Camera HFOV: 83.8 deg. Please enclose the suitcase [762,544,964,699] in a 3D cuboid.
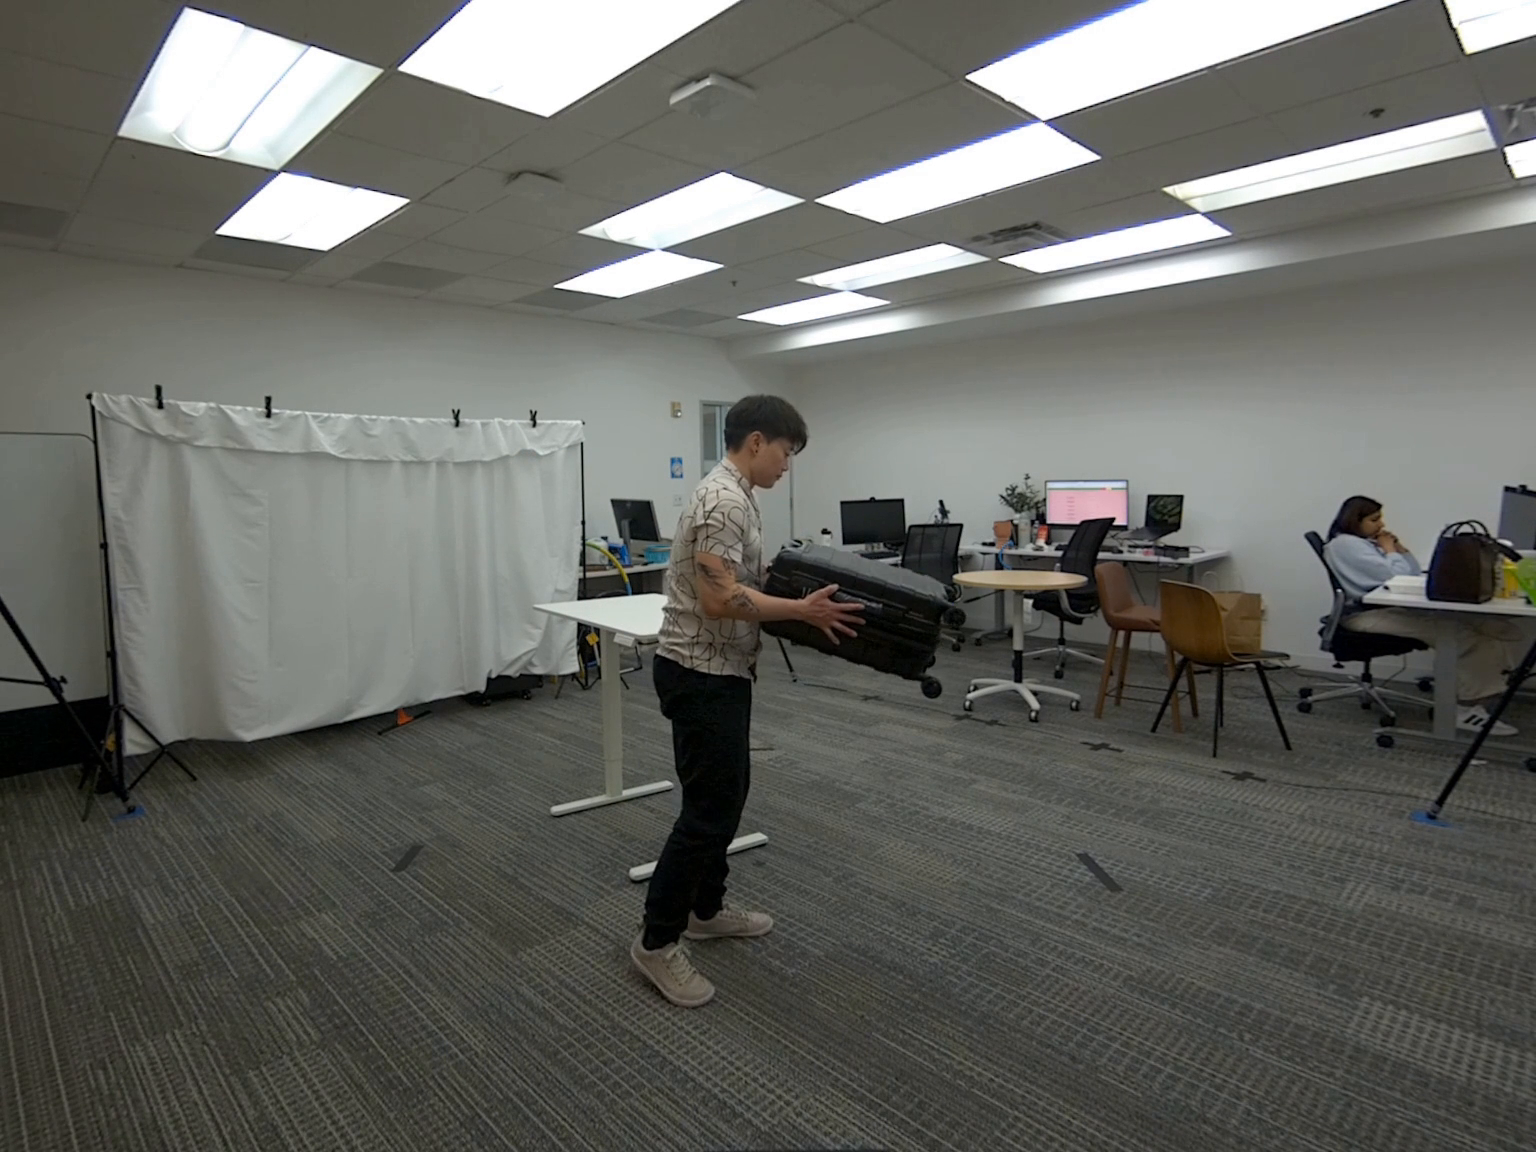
[{"bbox_3d":[0.263,0.092,2.473,0.554,0.247,0.374,17,10,7],"label":"suitcase"}]
